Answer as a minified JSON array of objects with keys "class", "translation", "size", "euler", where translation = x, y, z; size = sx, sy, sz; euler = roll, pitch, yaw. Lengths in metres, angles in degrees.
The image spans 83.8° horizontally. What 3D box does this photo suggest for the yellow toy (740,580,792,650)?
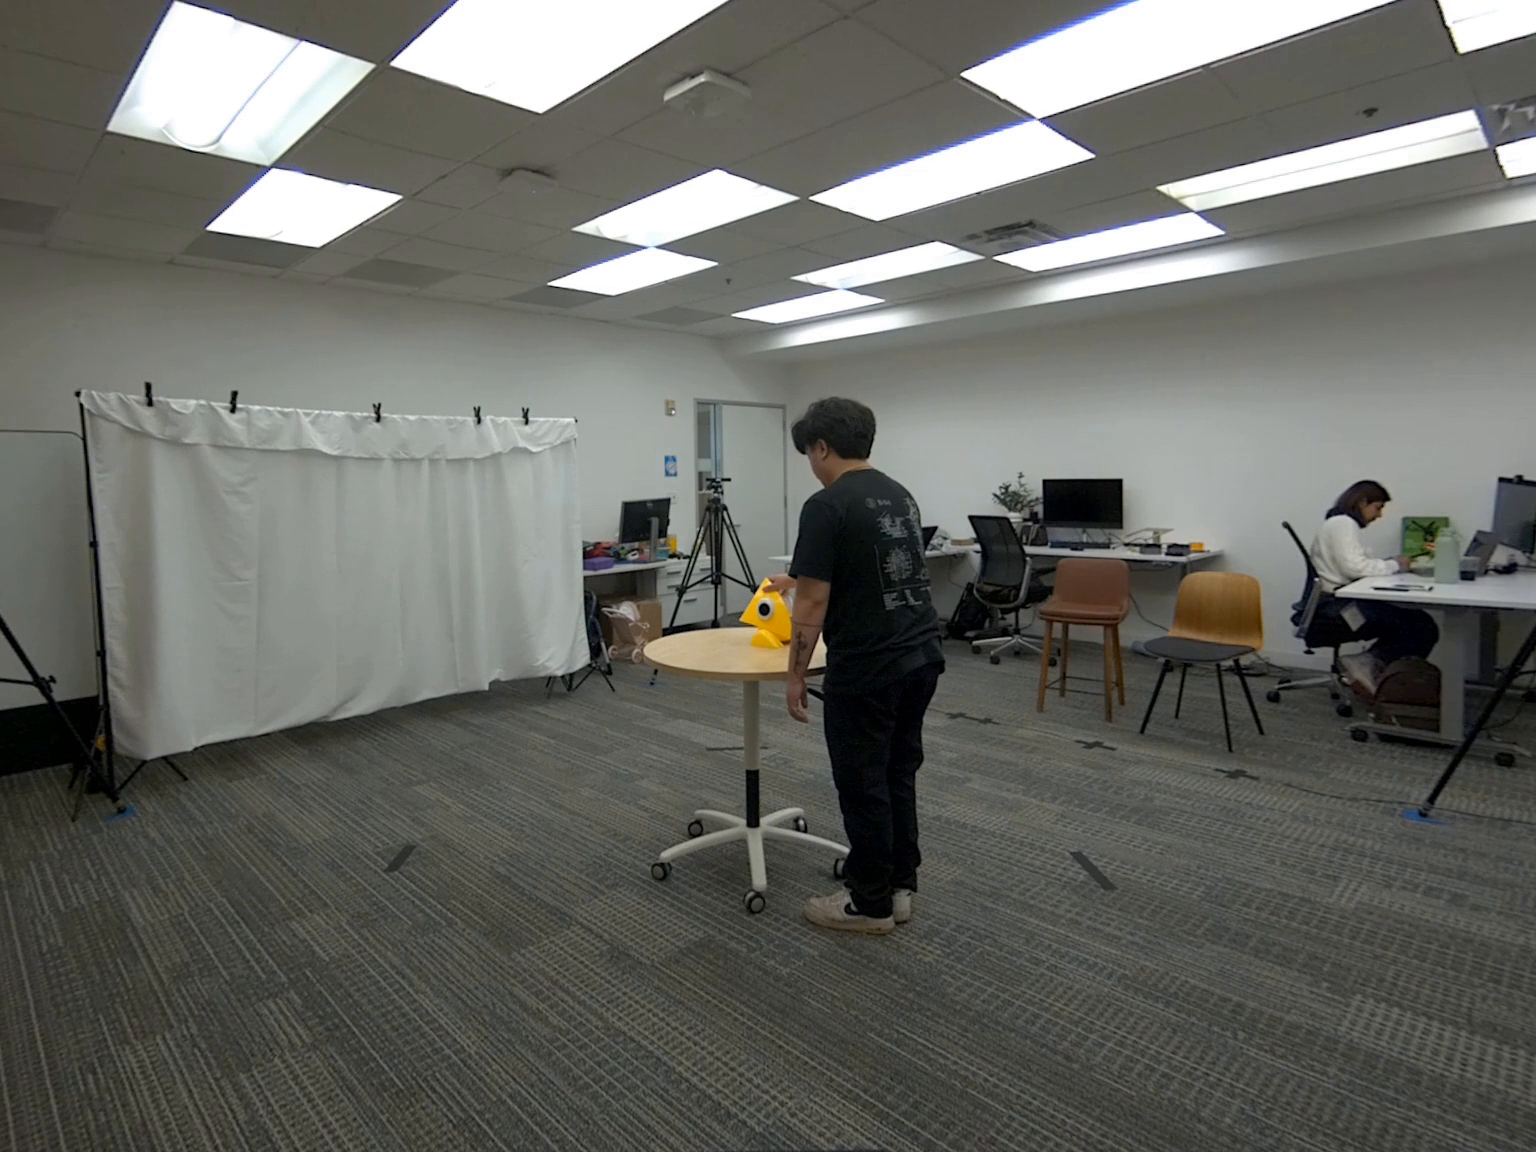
[{"class":"yellow toy","translation":[0.034,0.129,3.124],"size":[0.199,0.230,0.199],"euler":[-3,6,-35]}]
